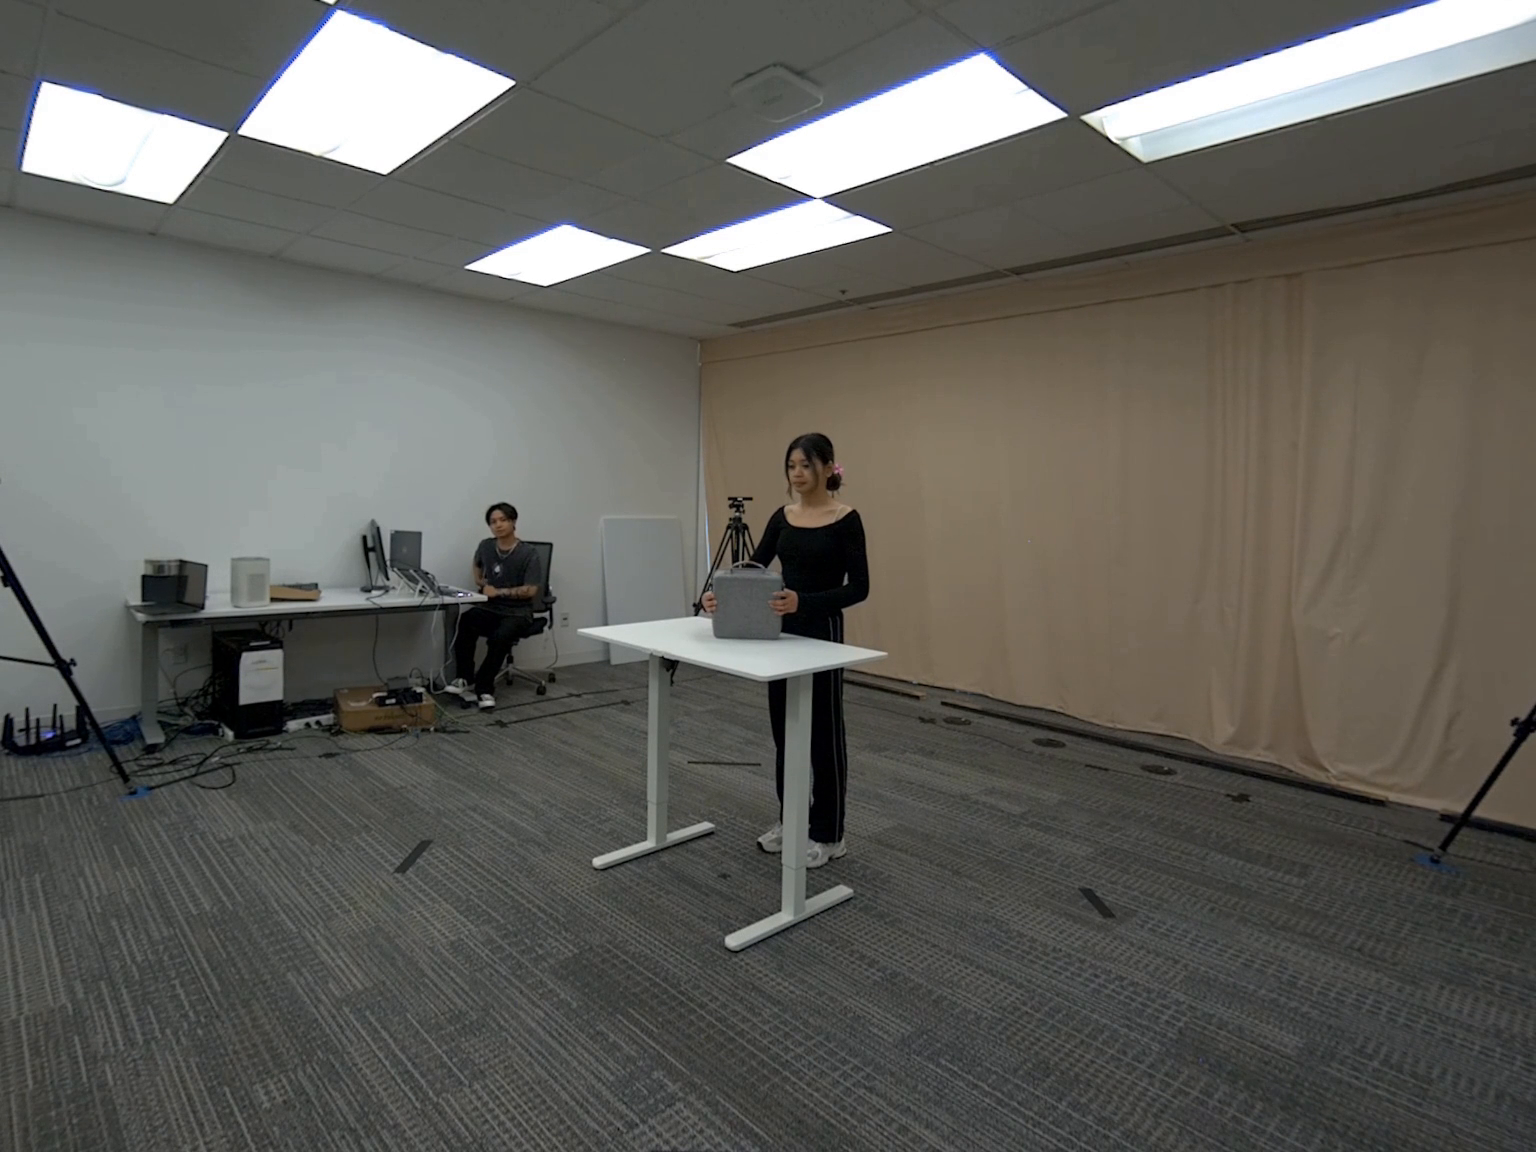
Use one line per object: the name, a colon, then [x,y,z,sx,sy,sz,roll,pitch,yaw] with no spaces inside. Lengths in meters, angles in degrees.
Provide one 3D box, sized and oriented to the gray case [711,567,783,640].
gray case: [-0.081,0.101,3.058,0.257,0.257,0.105,0,17,1]
